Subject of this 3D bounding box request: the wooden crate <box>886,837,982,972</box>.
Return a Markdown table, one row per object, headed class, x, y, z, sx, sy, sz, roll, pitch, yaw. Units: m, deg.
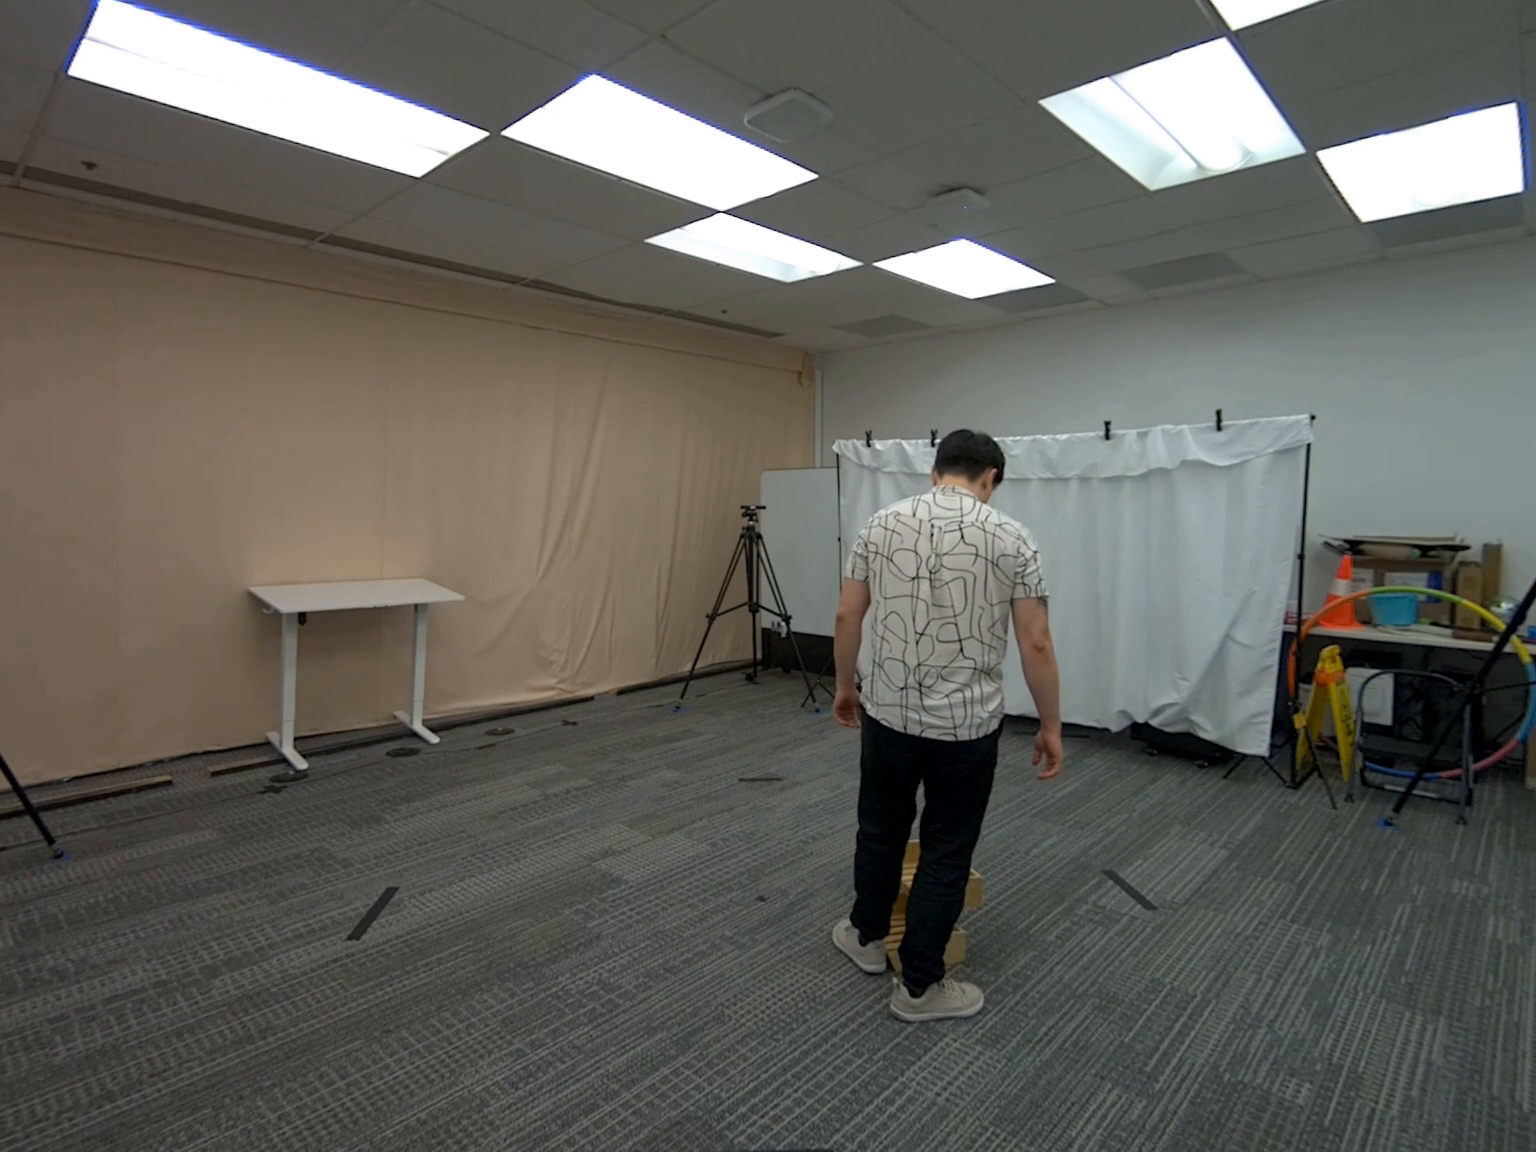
| class | x | y | z | sx | sy | sz | roll | pitch | yaw |
| --- | --- | --- | --- | --- | --- | --- | --- | --- | --- |
| wooden crate | 0.466 | 1.039 | 2.674 | 0.297 | 0.273 | 0.331 | 0 | 4 | -17 |
